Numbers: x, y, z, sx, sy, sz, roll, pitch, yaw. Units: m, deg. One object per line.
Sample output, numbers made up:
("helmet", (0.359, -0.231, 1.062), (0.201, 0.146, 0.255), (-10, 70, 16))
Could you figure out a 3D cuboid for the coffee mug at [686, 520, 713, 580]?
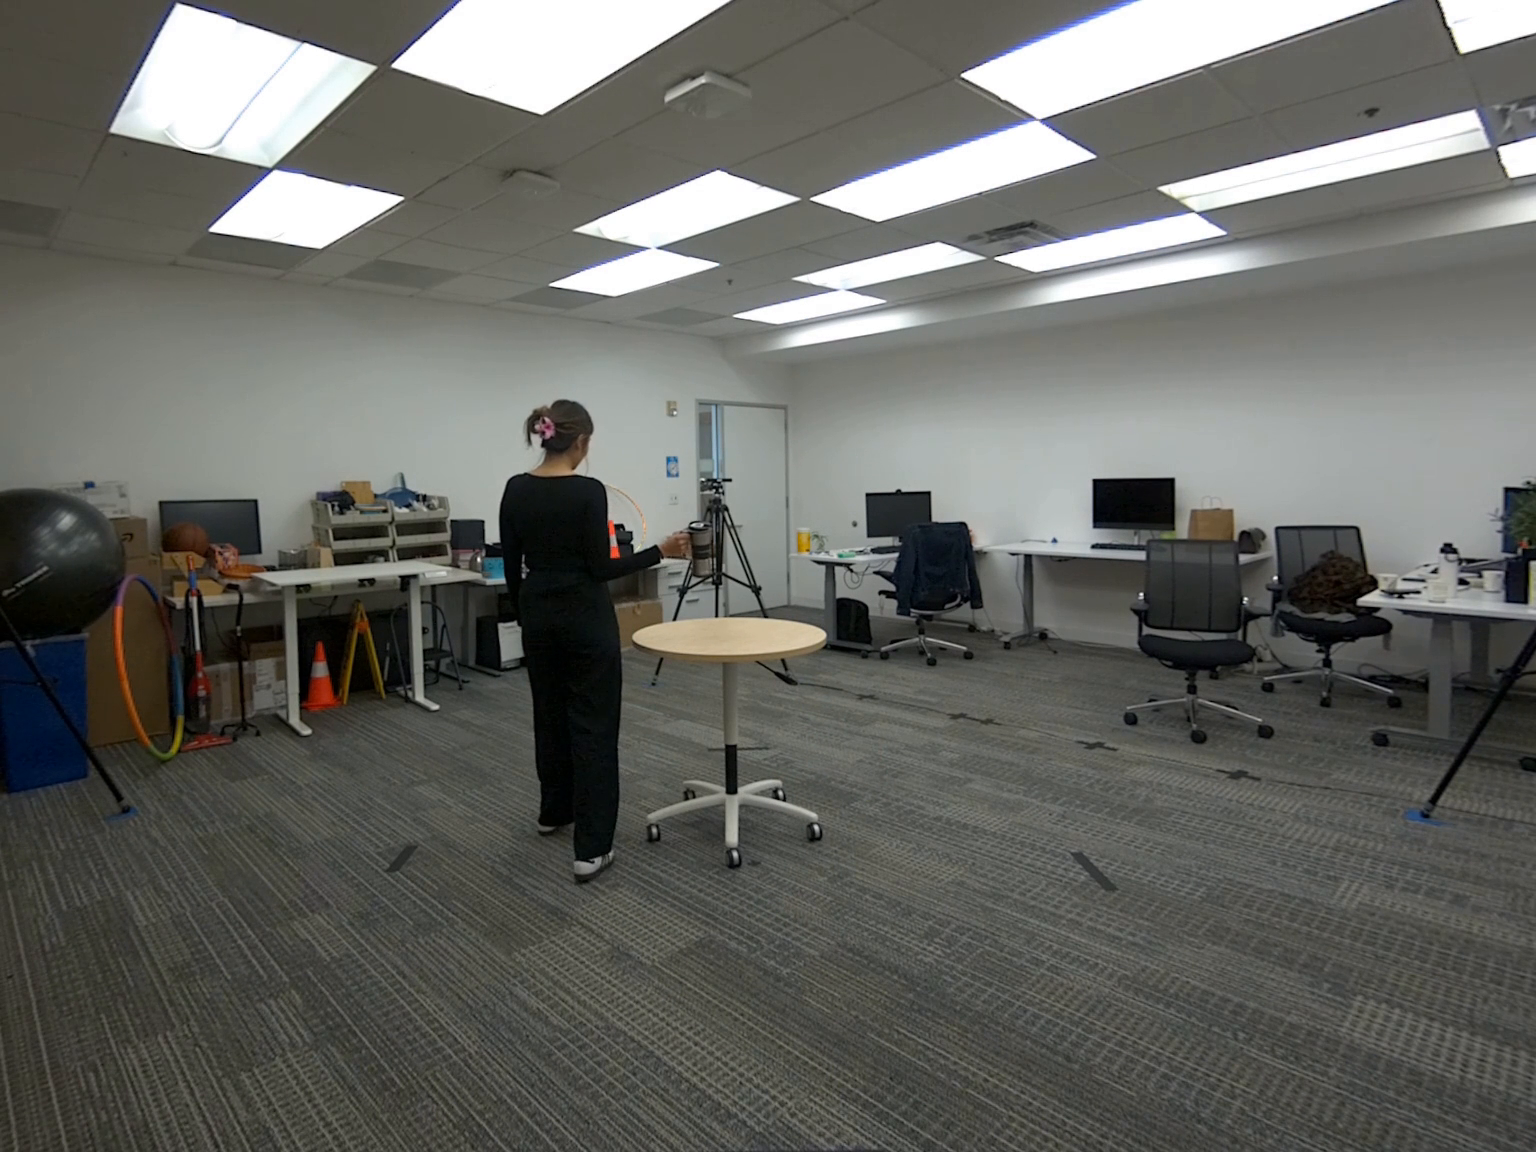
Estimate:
("coffee mug", (-0.275, -0.102, 3.219), (0.123, 0.200, 0.088), (6, 20, 10))
